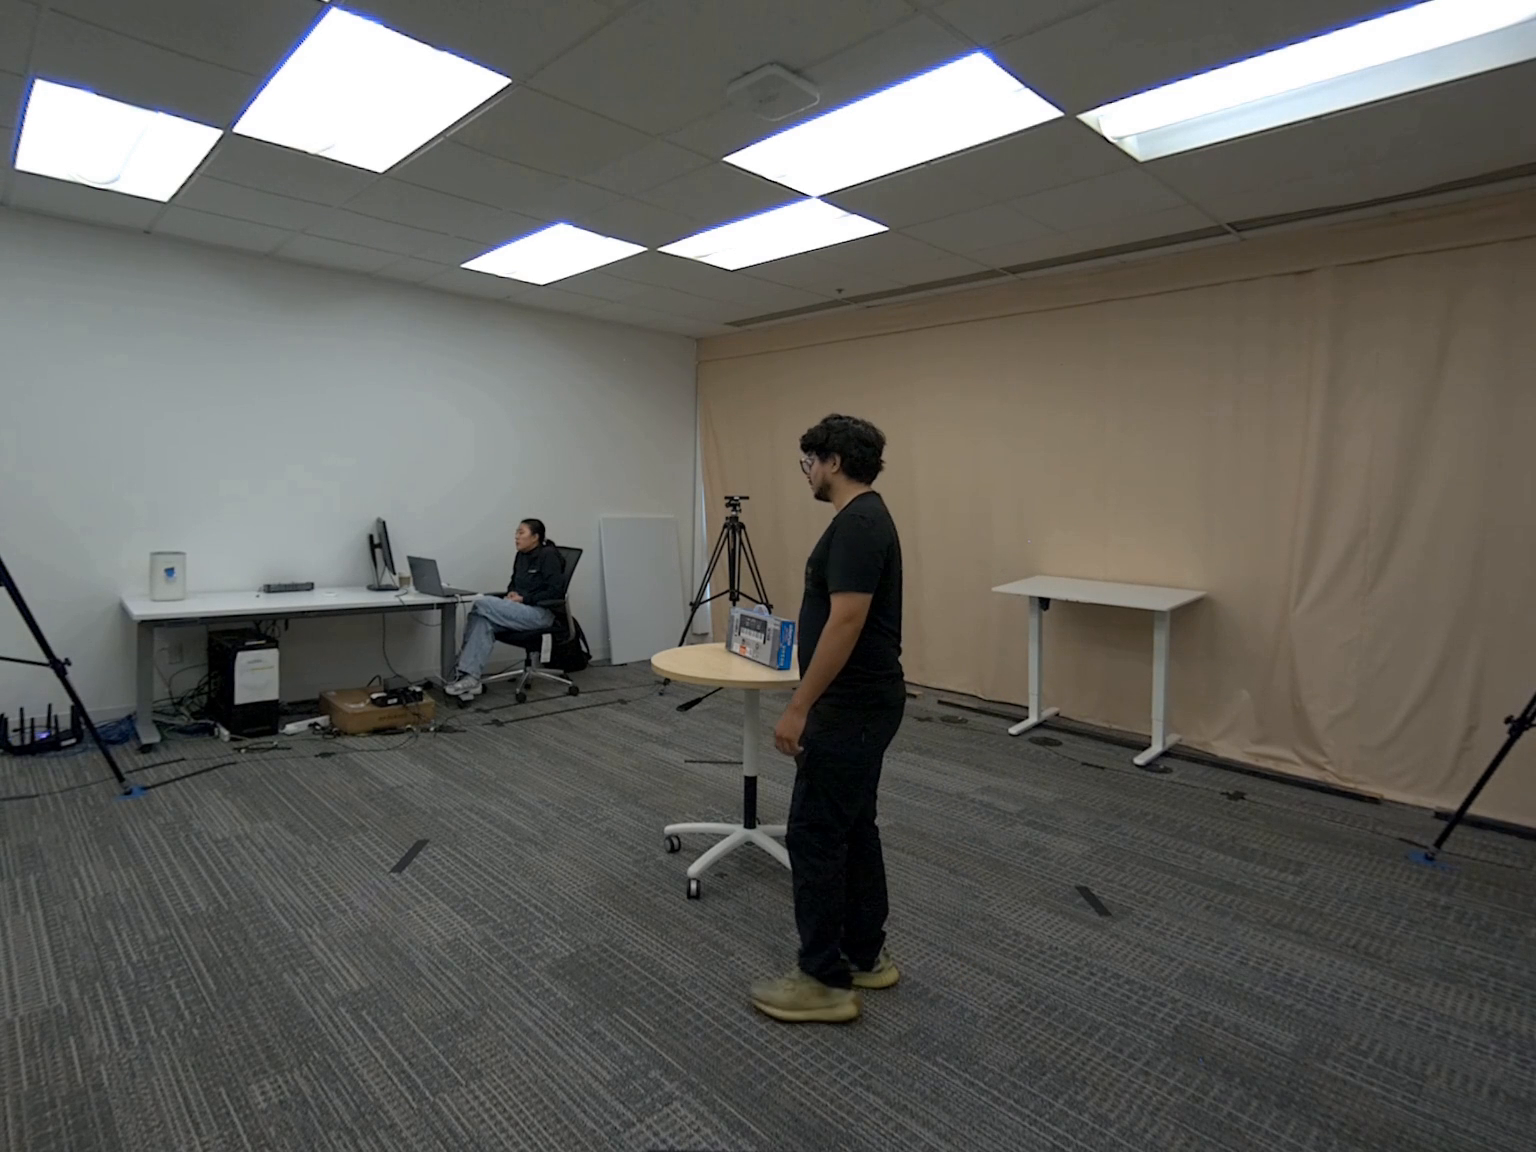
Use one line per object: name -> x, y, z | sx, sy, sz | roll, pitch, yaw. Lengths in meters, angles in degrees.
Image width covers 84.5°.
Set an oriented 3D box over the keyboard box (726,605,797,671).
keyboard box -> -0.042, 0.230, 3.171 | 0.058, 0.176, 0.446 | 5, 2, -26
